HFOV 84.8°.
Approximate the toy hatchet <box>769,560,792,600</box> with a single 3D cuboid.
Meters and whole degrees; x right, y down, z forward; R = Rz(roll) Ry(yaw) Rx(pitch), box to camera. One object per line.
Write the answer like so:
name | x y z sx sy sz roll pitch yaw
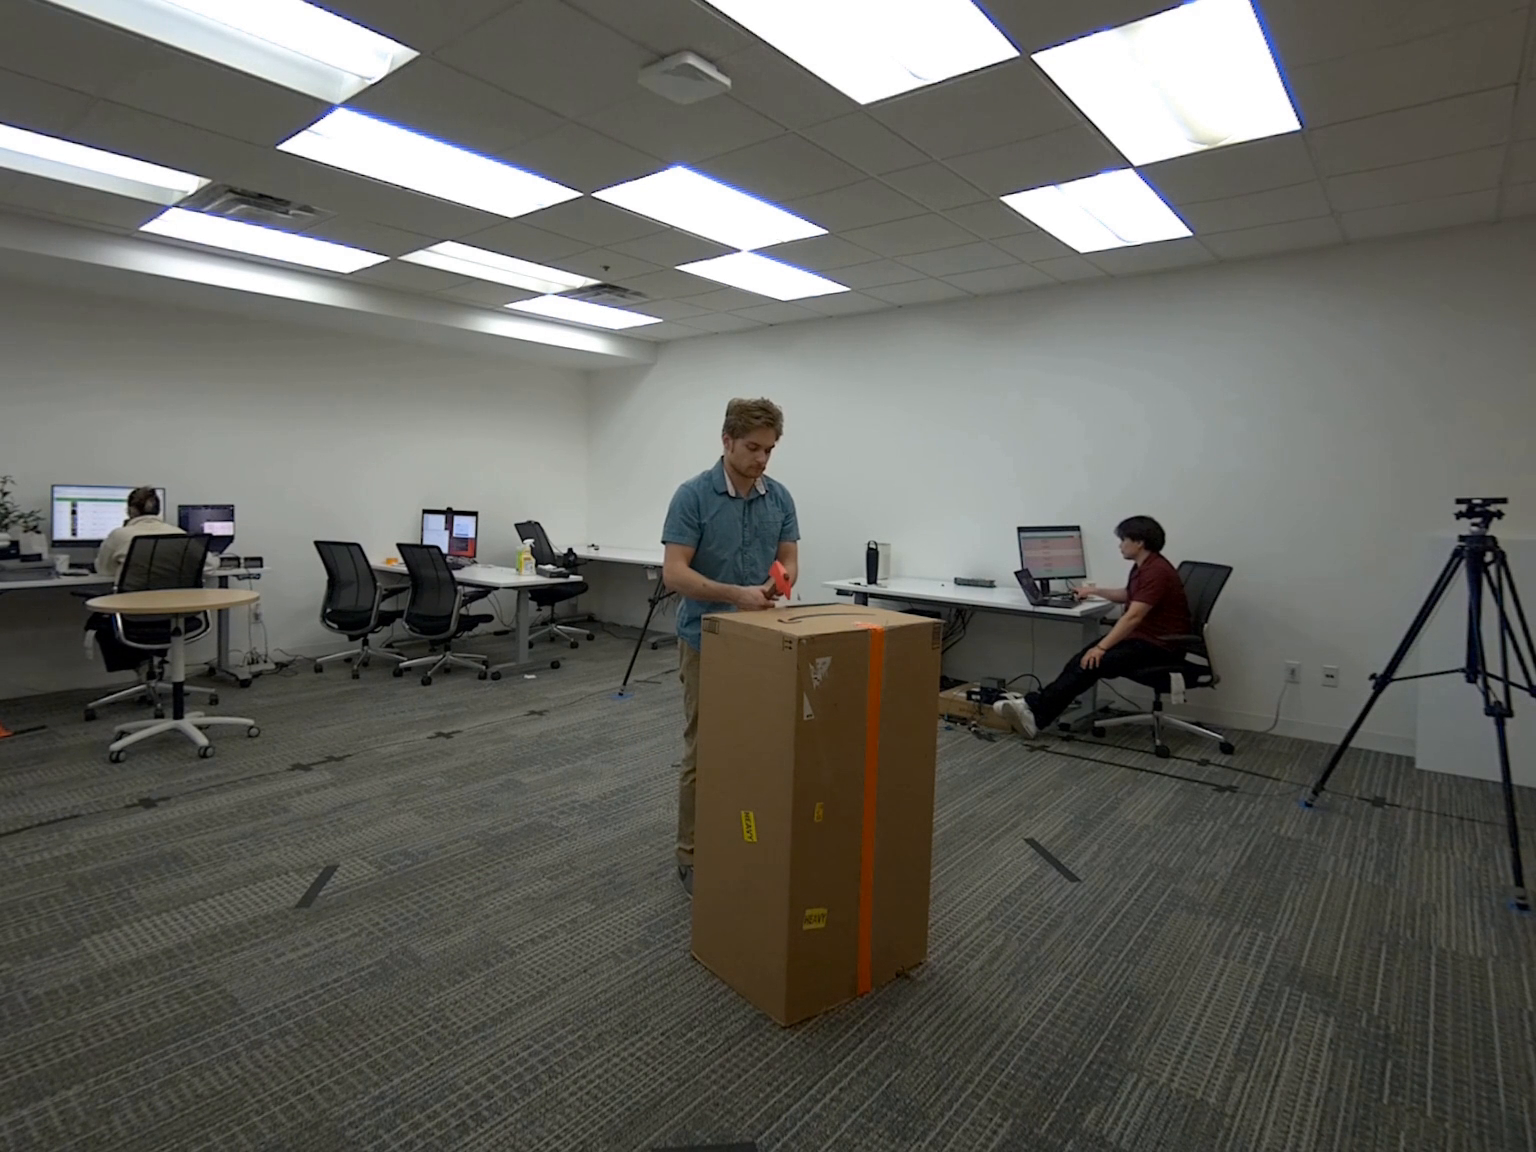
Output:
toy hatchet | -0.008 0.027 2.680 0.029 0.132 0.274 -6 -6 -29
